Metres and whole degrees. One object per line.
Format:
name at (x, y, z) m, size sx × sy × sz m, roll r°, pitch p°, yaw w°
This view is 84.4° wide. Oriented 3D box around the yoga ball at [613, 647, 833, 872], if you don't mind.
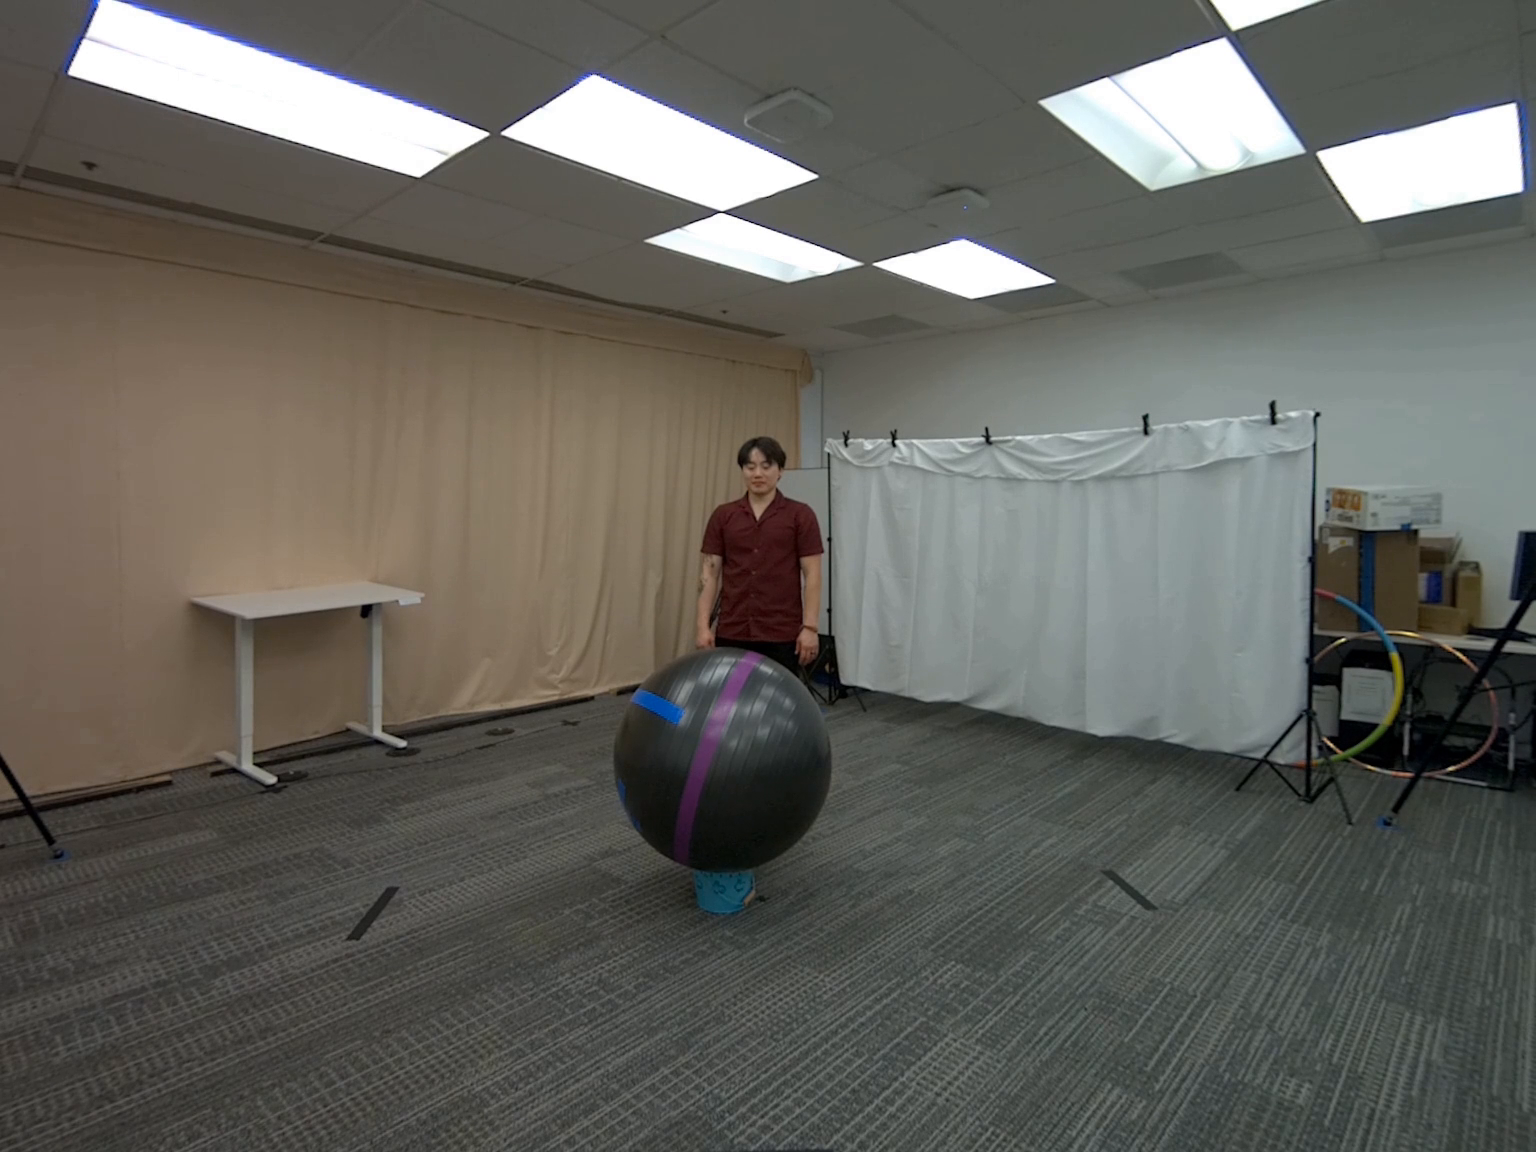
yoga ball at (-0.153, 0.631, 2.948) m, size 0.757 × 0.756 × 0.760 m, roll 0°, pitch 4°, yaw -2°
